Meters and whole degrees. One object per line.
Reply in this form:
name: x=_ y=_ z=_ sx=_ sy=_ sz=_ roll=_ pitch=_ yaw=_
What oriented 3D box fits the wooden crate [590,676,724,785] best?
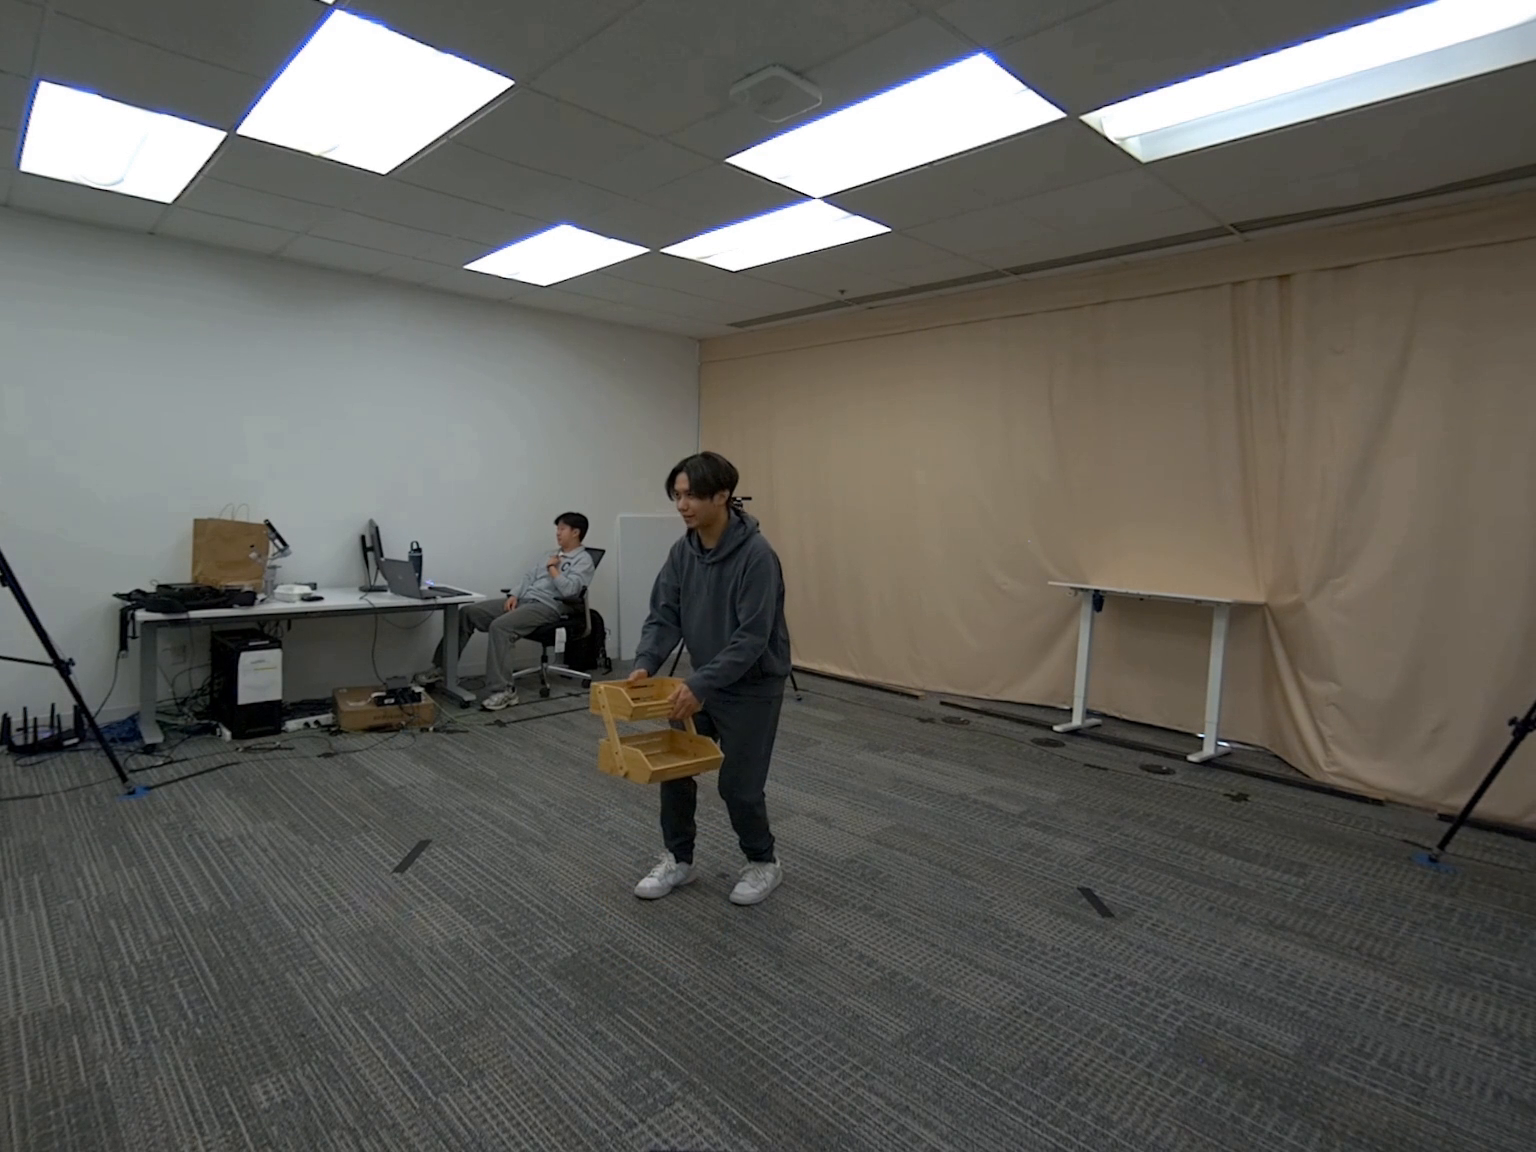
wooden crate: x=-0.350 y=0.468 z=2.617 sx=0.309 sy=0.274 sz=0.316 roll=-1 pitch=-2 yaw=43
